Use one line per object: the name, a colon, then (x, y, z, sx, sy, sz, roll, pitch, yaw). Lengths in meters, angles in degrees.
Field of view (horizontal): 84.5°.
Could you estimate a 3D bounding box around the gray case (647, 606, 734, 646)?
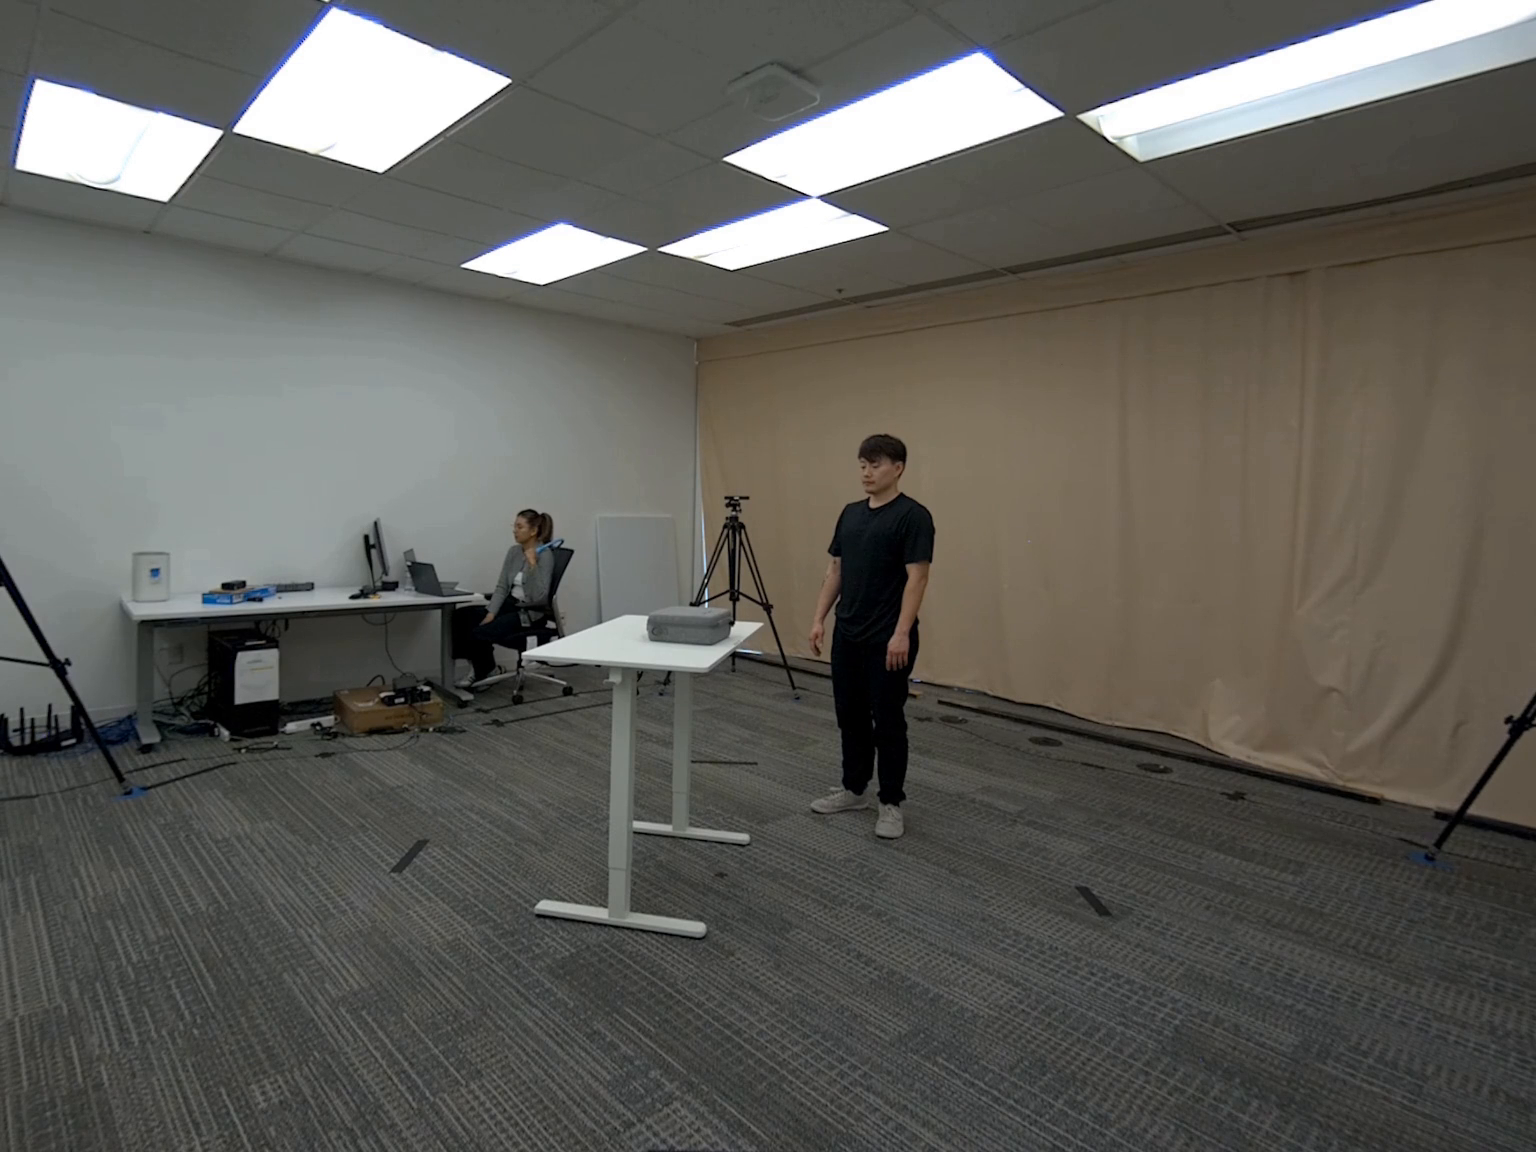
gray case: (-0.293, 0.173, 3.022, 0.264, 0.104, 0.254, 2, 6, 15)
